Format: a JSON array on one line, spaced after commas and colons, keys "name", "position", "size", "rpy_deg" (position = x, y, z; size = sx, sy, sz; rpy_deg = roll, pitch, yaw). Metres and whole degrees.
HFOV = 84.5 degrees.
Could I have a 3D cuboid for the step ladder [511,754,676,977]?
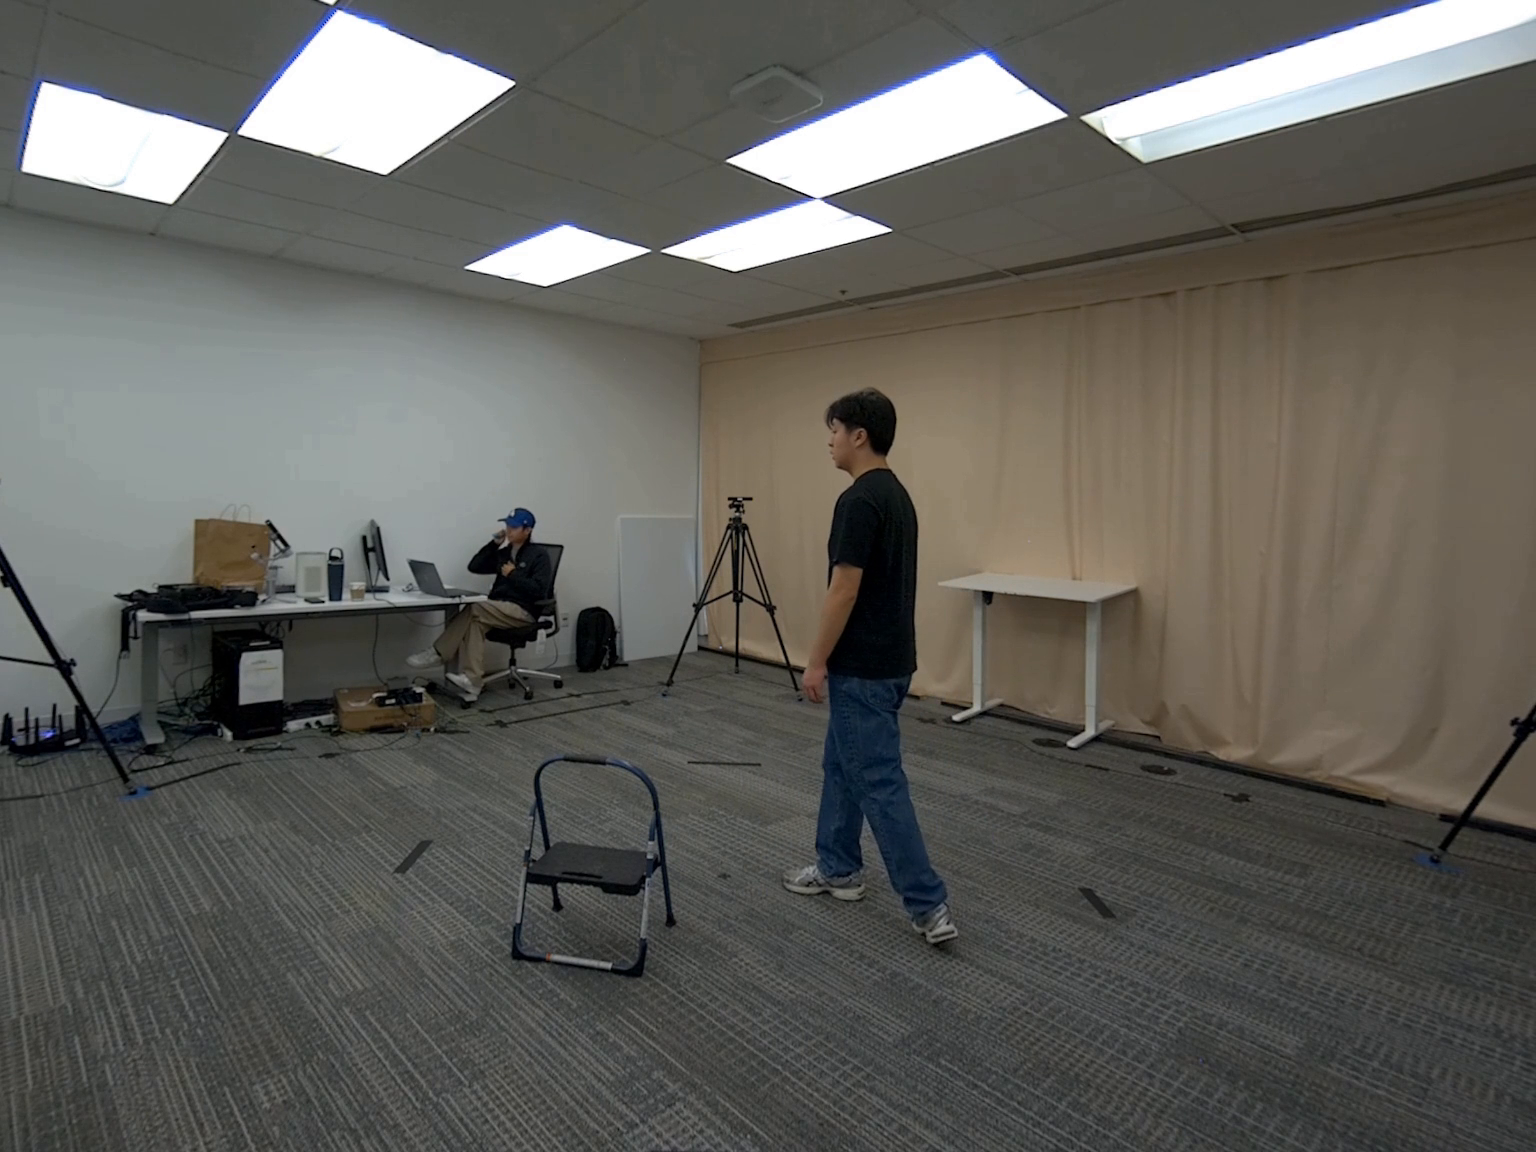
[{"name": "step ladder", "position": [-0.543, 0.844, 2.619], "size": [0.434, 0.604, 0.347], "rpy_deg": [1, 3, 10]}]
